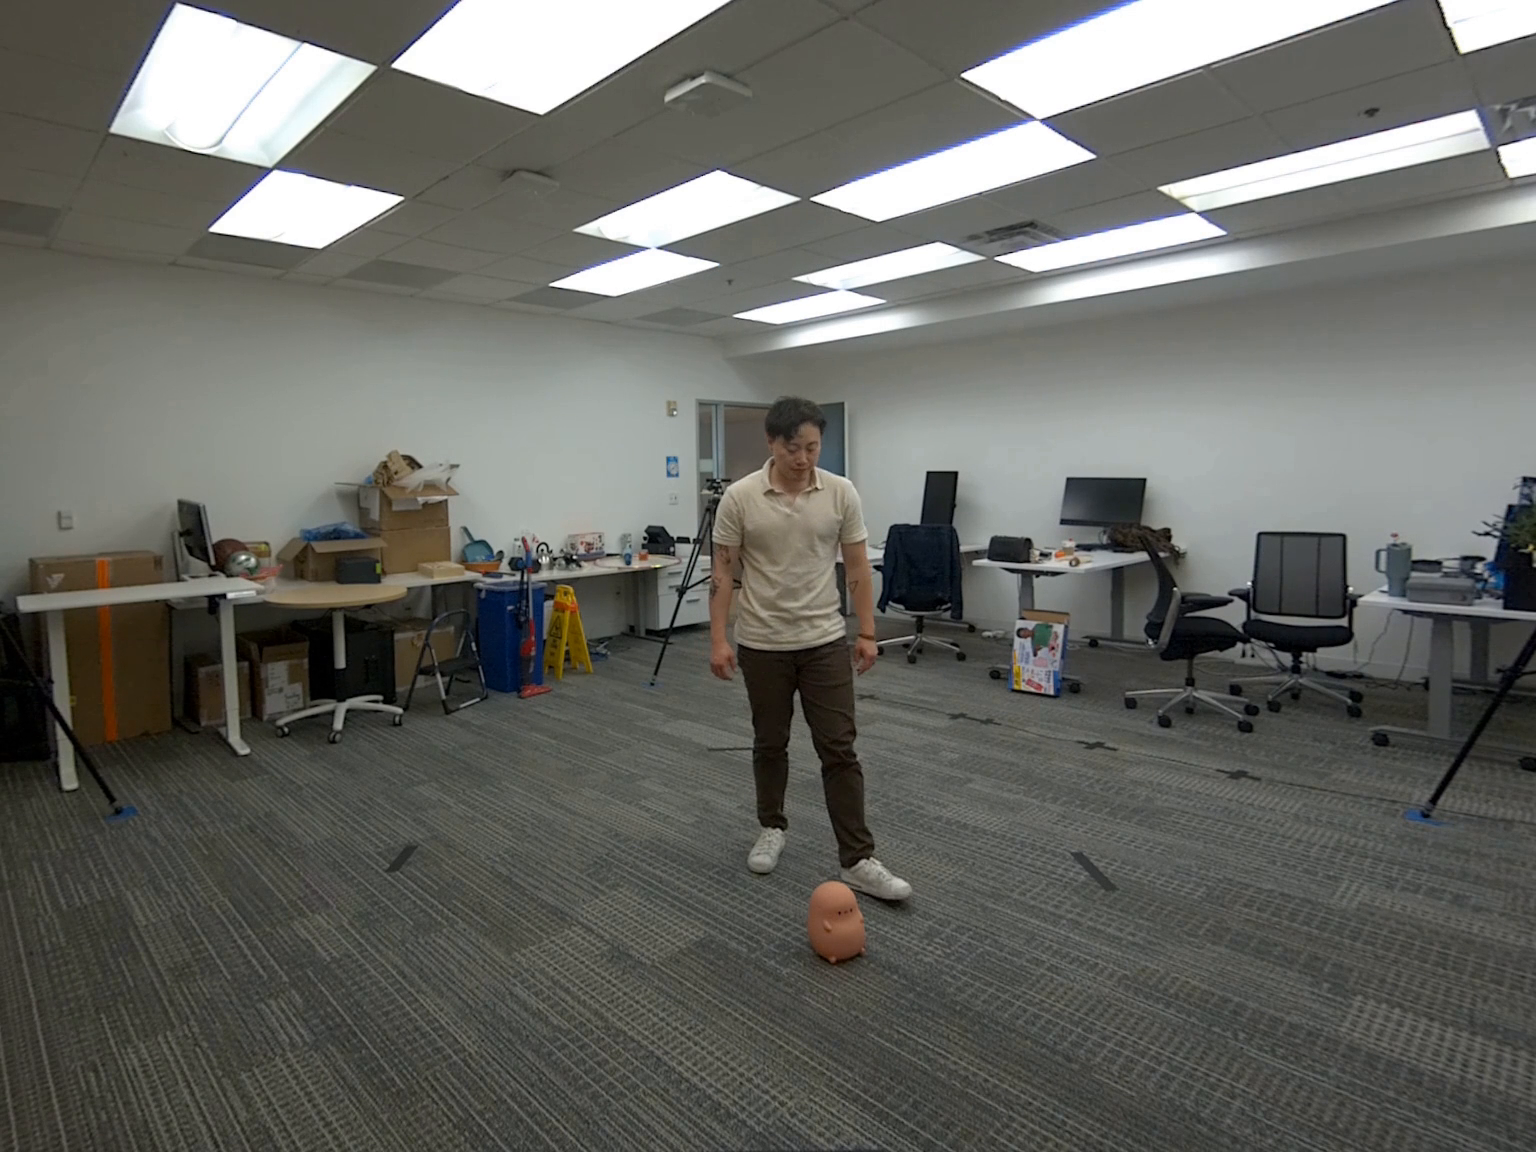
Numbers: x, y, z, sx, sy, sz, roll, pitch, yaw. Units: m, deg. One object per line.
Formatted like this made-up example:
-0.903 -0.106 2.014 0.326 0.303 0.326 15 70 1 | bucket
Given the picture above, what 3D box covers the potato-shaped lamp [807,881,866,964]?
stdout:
0.206 1.009 2.521 0.161 0.197 0.175 -4 6 -23 | potato-shaped lamp
